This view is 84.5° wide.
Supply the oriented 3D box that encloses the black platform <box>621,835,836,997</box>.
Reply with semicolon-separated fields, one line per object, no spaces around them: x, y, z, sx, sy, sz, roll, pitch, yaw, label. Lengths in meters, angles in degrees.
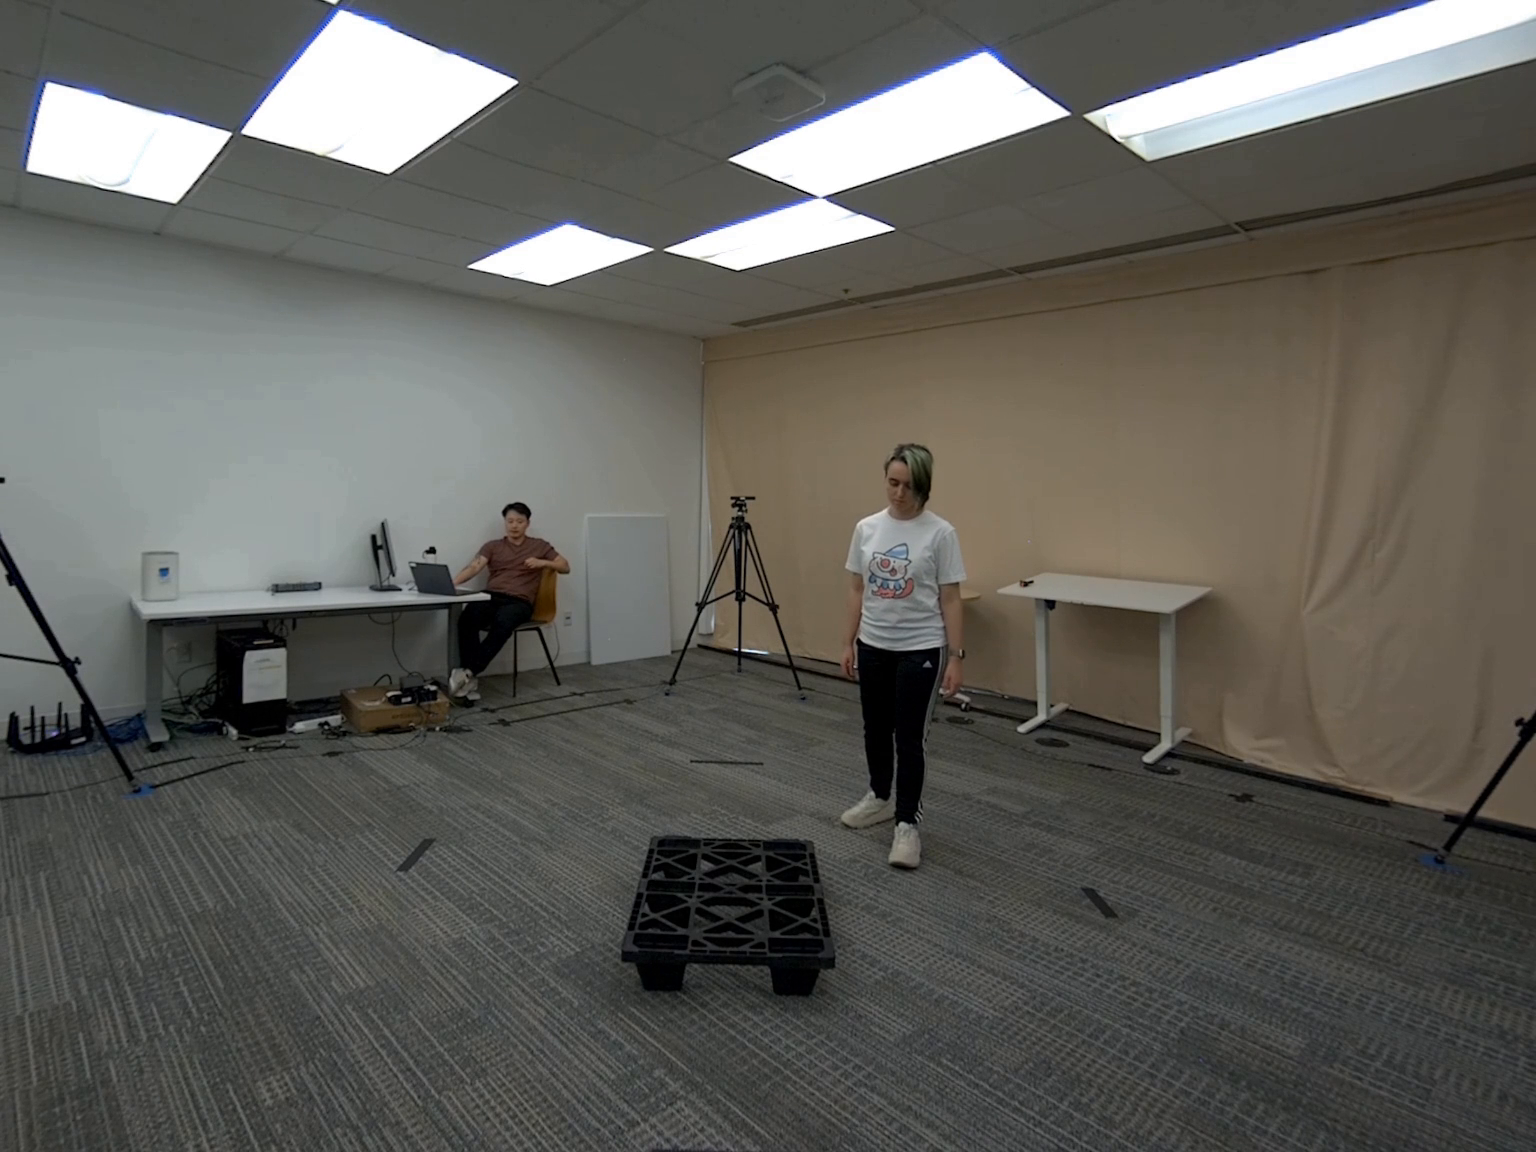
-0.125;1.070;2.725;0.605;0.143;0.808;2;5;-1;black platform
